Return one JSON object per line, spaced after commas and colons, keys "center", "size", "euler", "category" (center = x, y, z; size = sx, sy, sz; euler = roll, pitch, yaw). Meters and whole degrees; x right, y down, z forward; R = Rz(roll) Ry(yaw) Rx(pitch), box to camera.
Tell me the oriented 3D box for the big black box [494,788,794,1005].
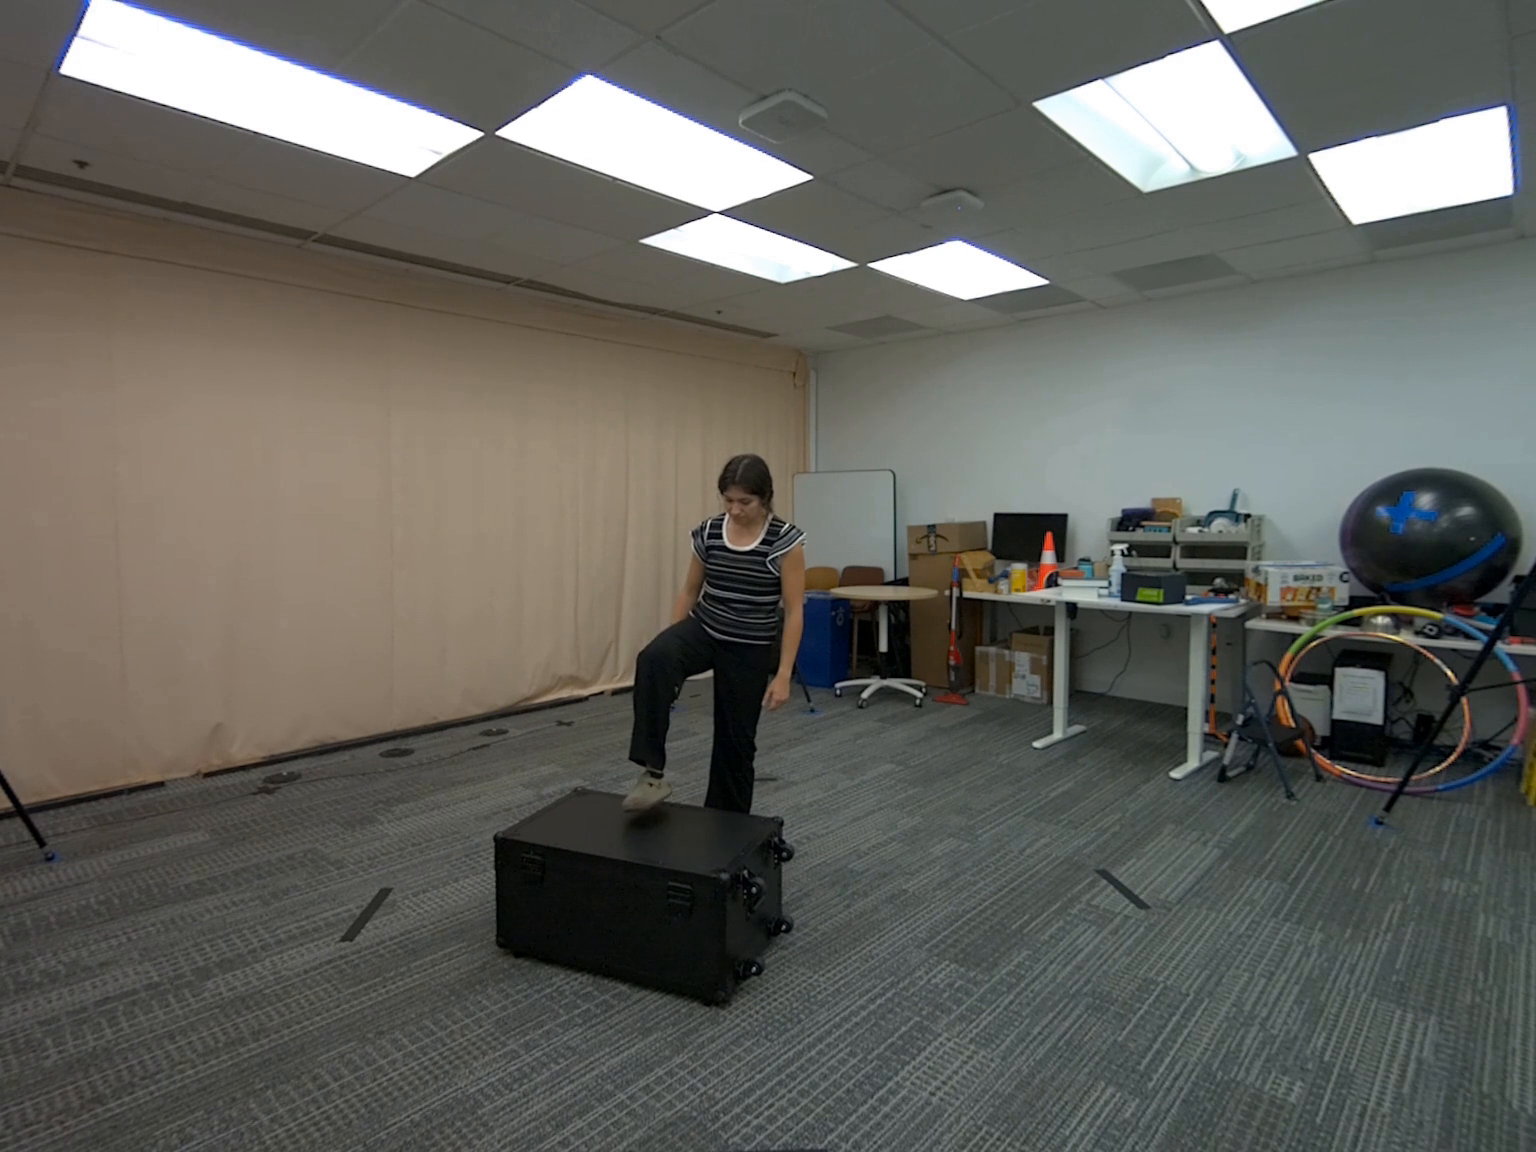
{"center": [-0.366, 0.980, 2.664], "size": [0.881, 0.396, 0.510], "euler": [1, 3, 22], "category": "big black box"}
